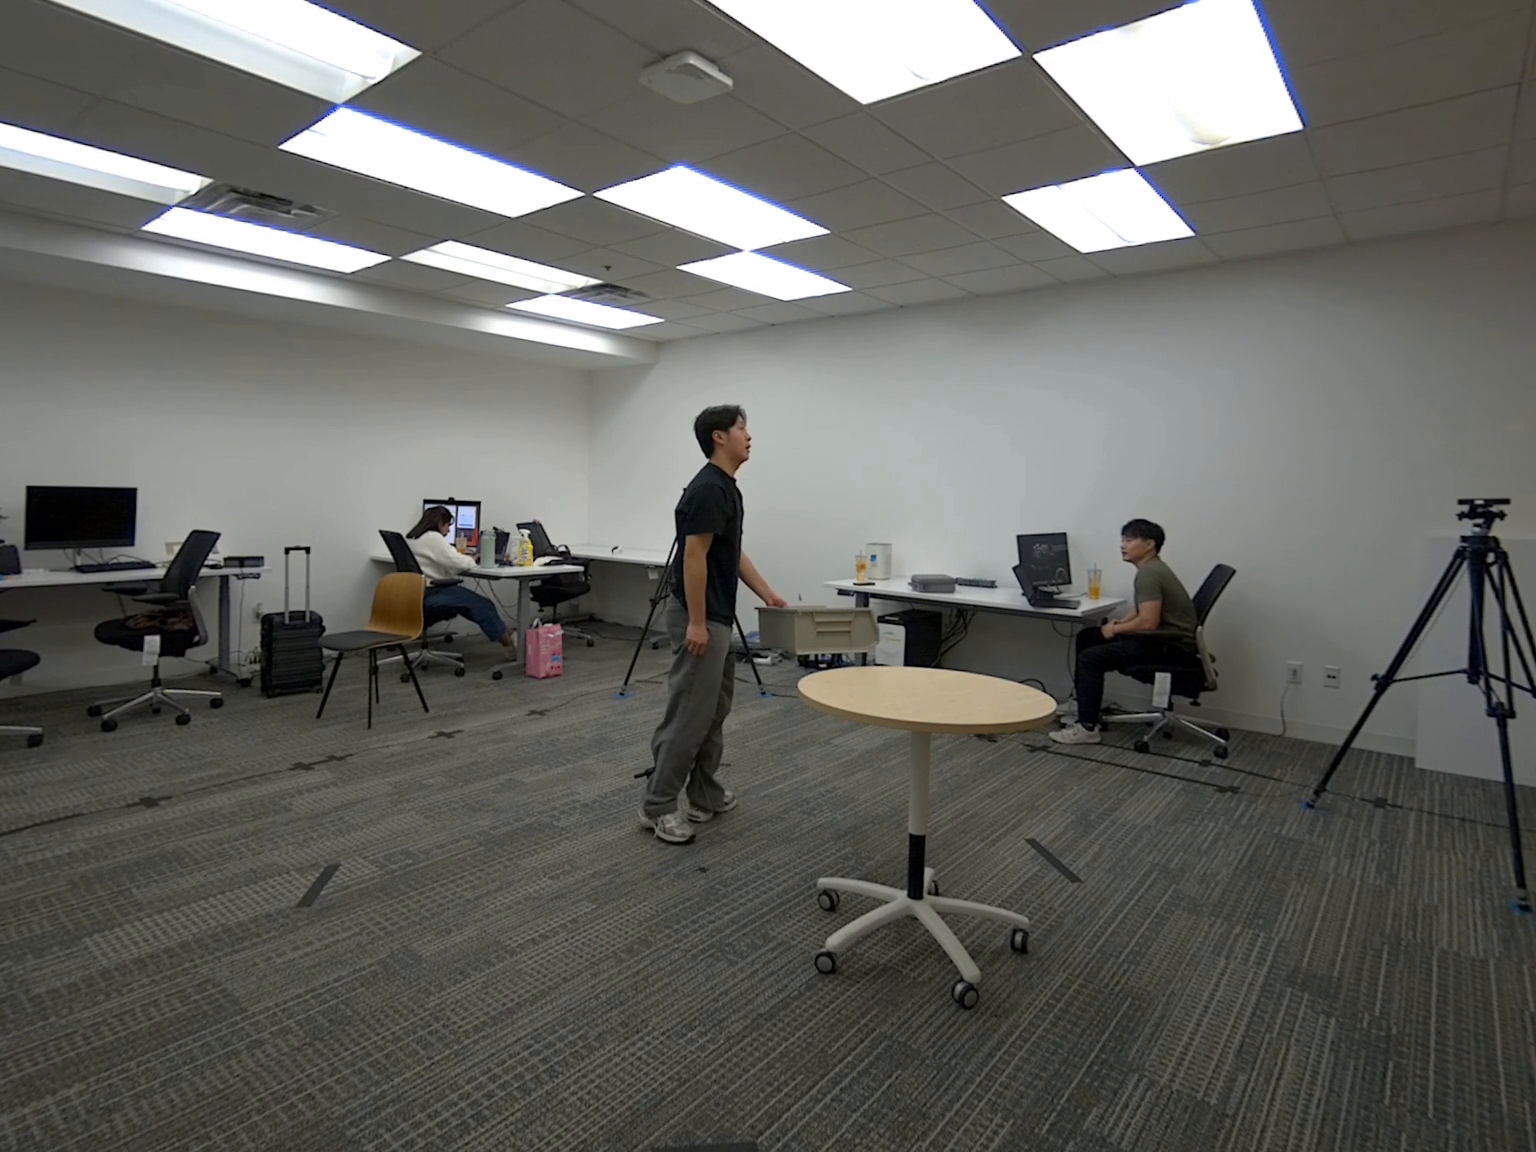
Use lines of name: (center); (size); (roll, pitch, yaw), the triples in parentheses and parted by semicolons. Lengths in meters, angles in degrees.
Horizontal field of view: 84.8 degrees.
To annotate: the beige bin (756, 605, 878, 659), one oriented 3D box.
beige bin: (0.185, 0.222, 3.571); (0.370, 0.189, 0.430); (-1, 0, -21)
